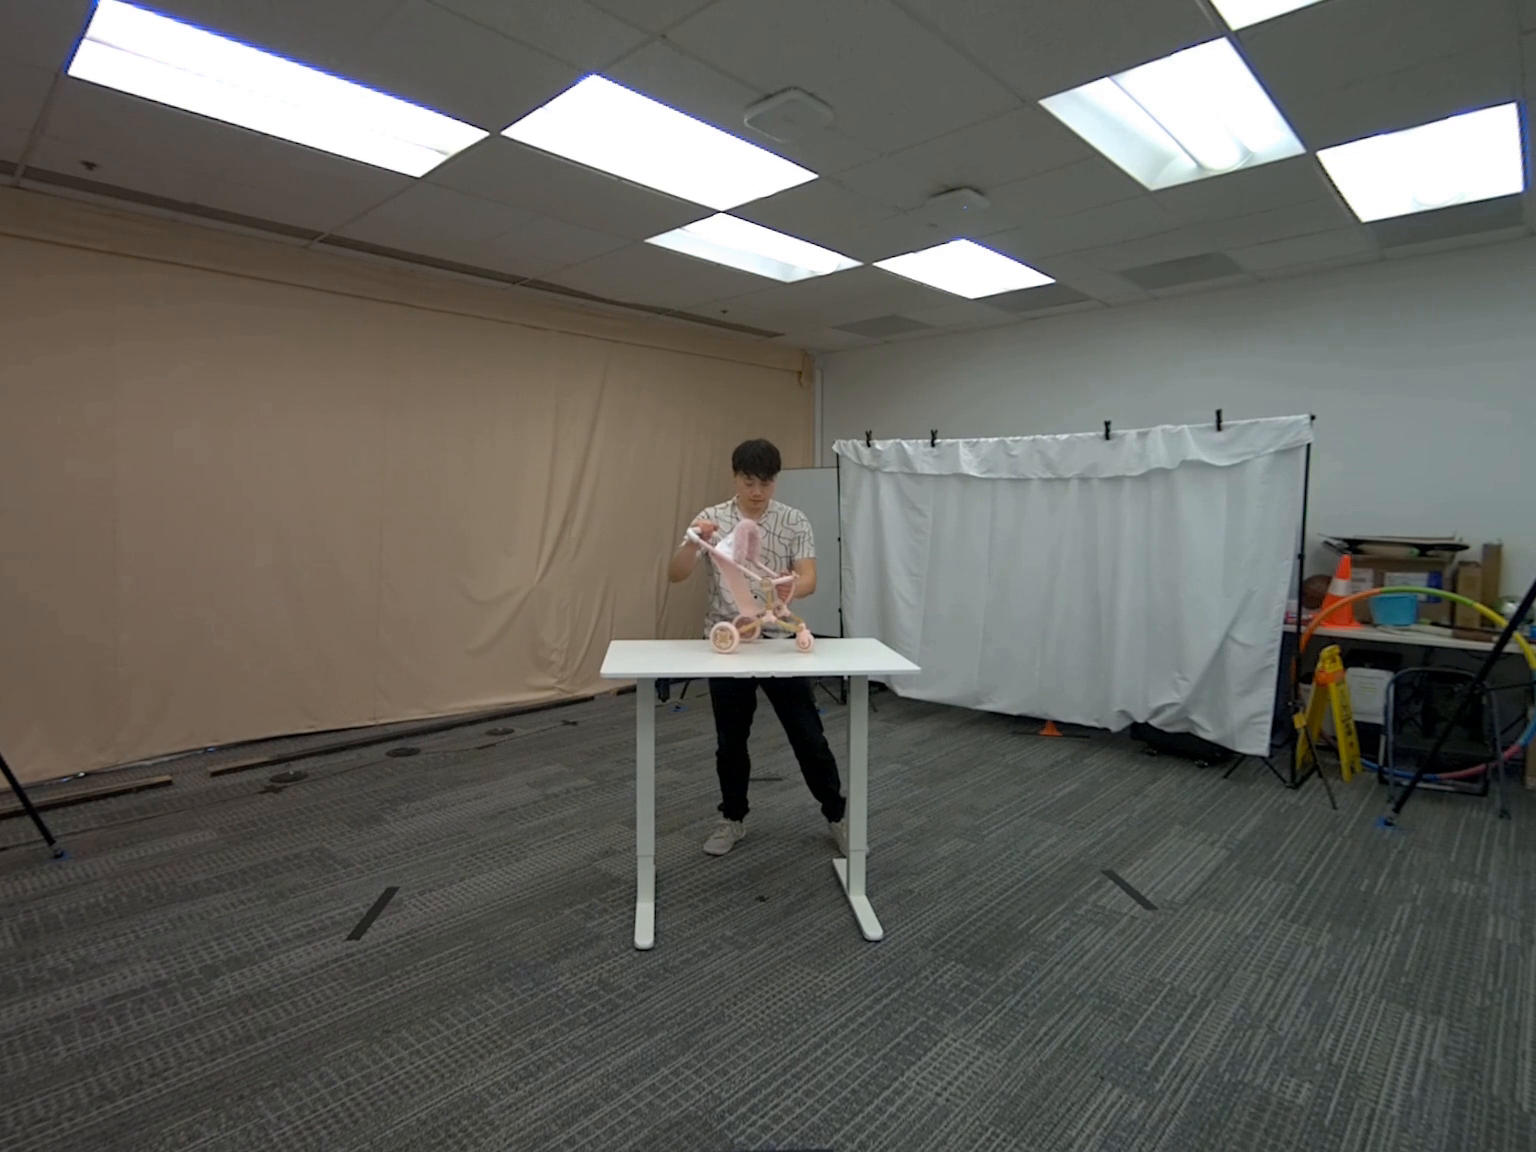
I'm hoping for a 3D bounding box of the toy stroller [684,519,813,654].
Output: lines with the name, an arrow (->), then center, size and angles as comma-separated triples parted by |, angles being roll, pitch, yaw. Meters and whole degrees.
toy stroller -> -0.050, 0.037, 2.986 | 0.348, 0.537, 0.275 | -15, -4, 24
